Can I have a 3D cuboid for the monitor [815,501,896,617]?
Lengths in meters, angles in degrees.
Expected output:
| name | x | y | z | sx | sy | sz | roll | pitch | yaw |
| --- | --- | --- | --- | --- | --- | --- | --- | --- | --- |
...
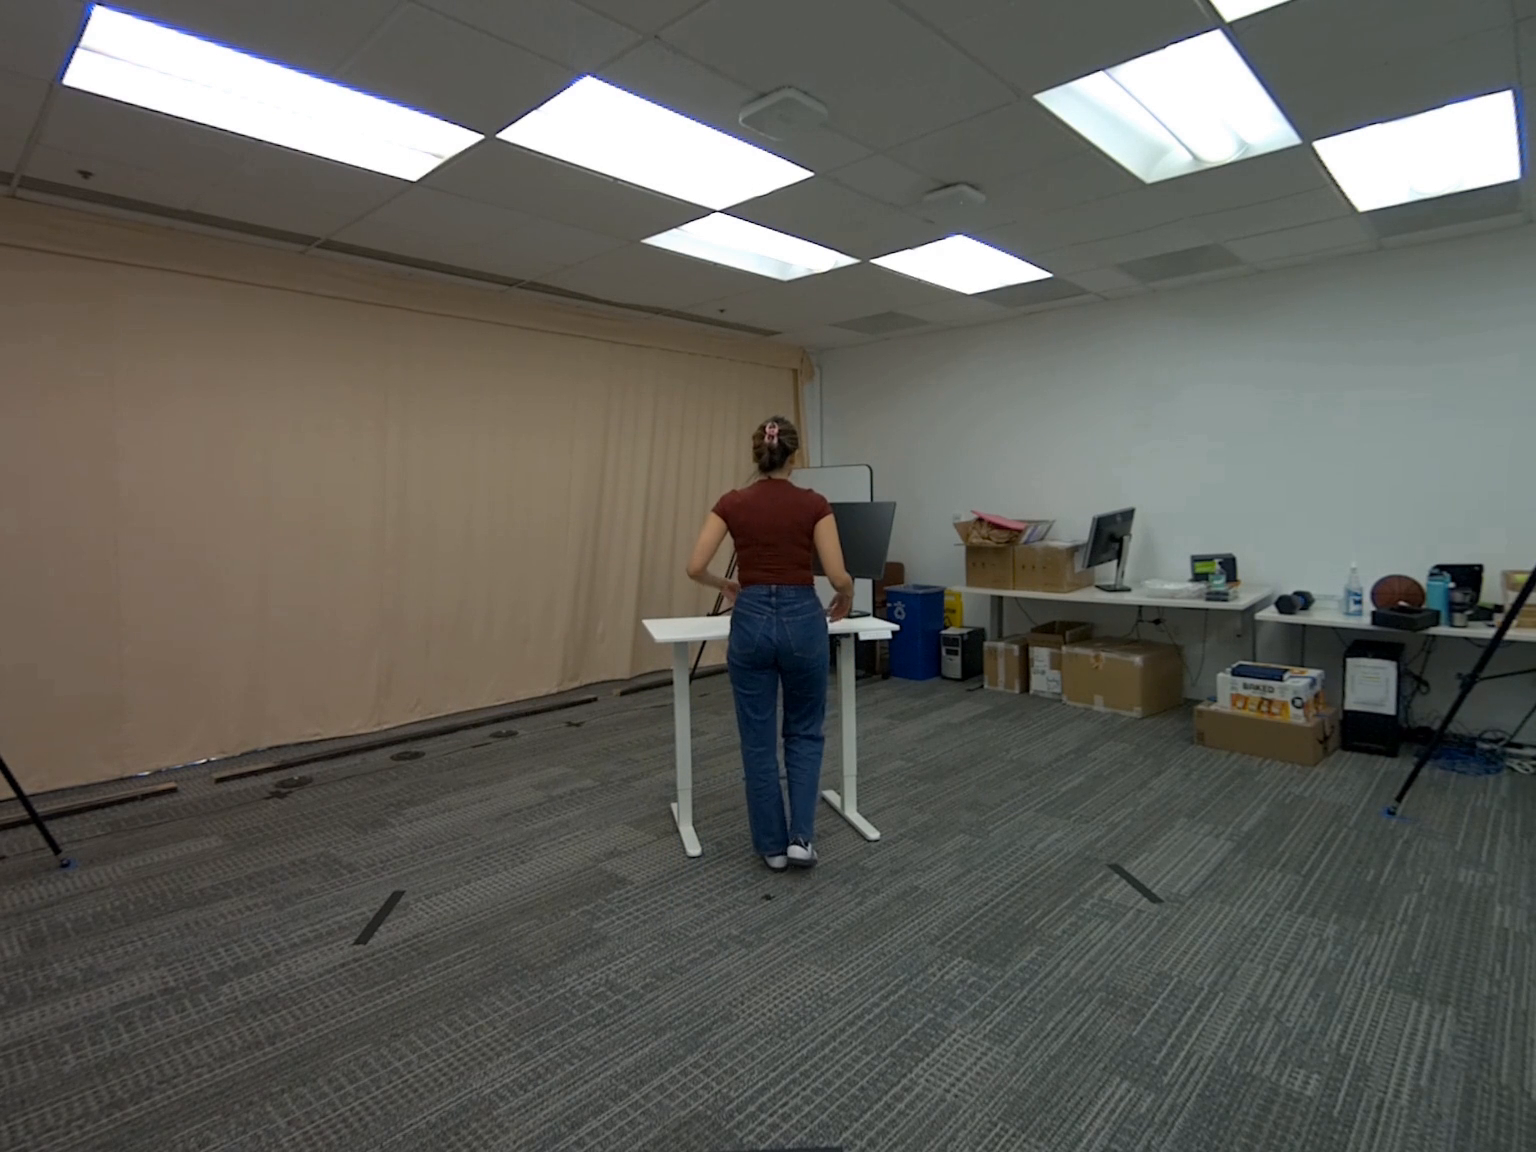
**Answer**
| name | x | y | z | sx | sy | sz | roll | pitch | yaw |
| --- | --- | --- | --- | --- | --- | --- | --- | --- | --- |
| monitor | 0.340 | -0.078 | 3.853 | 0.556 | 0.522 | 0.181 | 3 | 3 | 38 |
